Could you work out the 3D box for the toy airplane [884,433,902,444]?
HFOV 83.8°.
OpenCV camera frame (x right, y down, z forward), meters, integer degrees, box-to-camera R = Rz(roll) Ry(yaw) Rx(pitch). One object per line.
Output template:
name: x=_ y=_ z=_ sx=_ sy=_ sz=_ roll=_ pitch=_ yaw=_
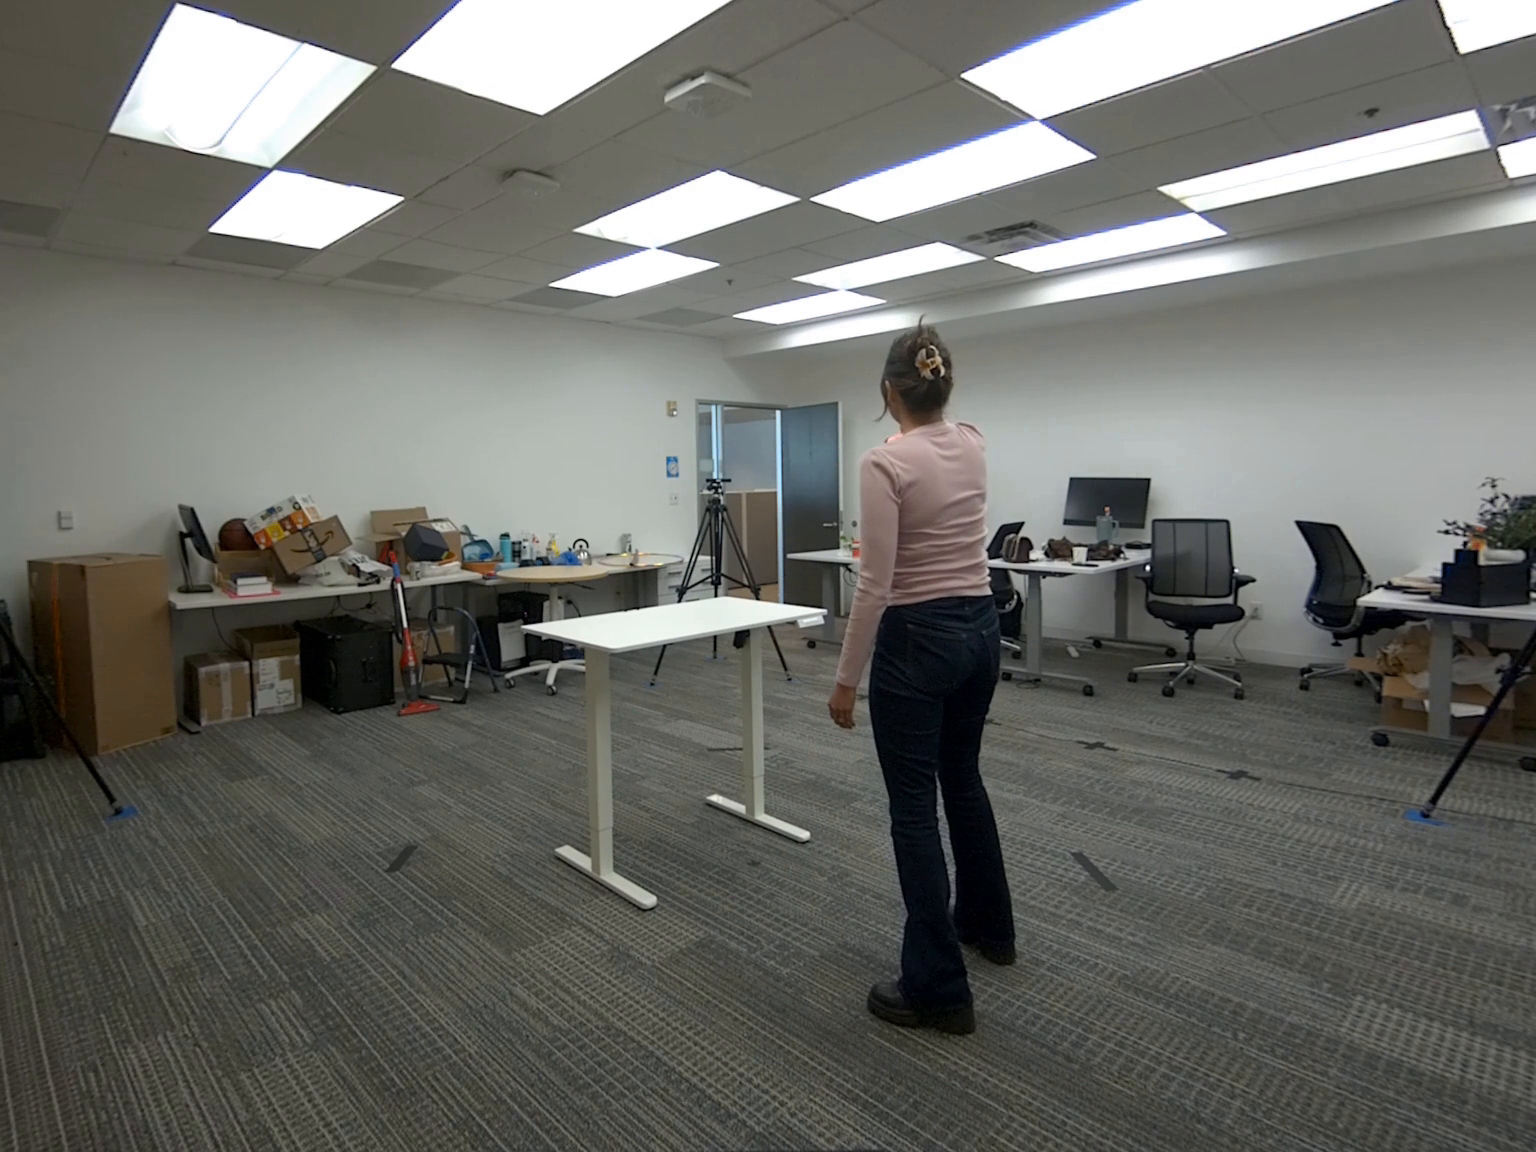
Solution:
toy airplane: x=0.549 y=-0.408 z=2.976 sx=0.268 sy=0.153 sz=0.248 roll=25 pitch=39 yaw=31
